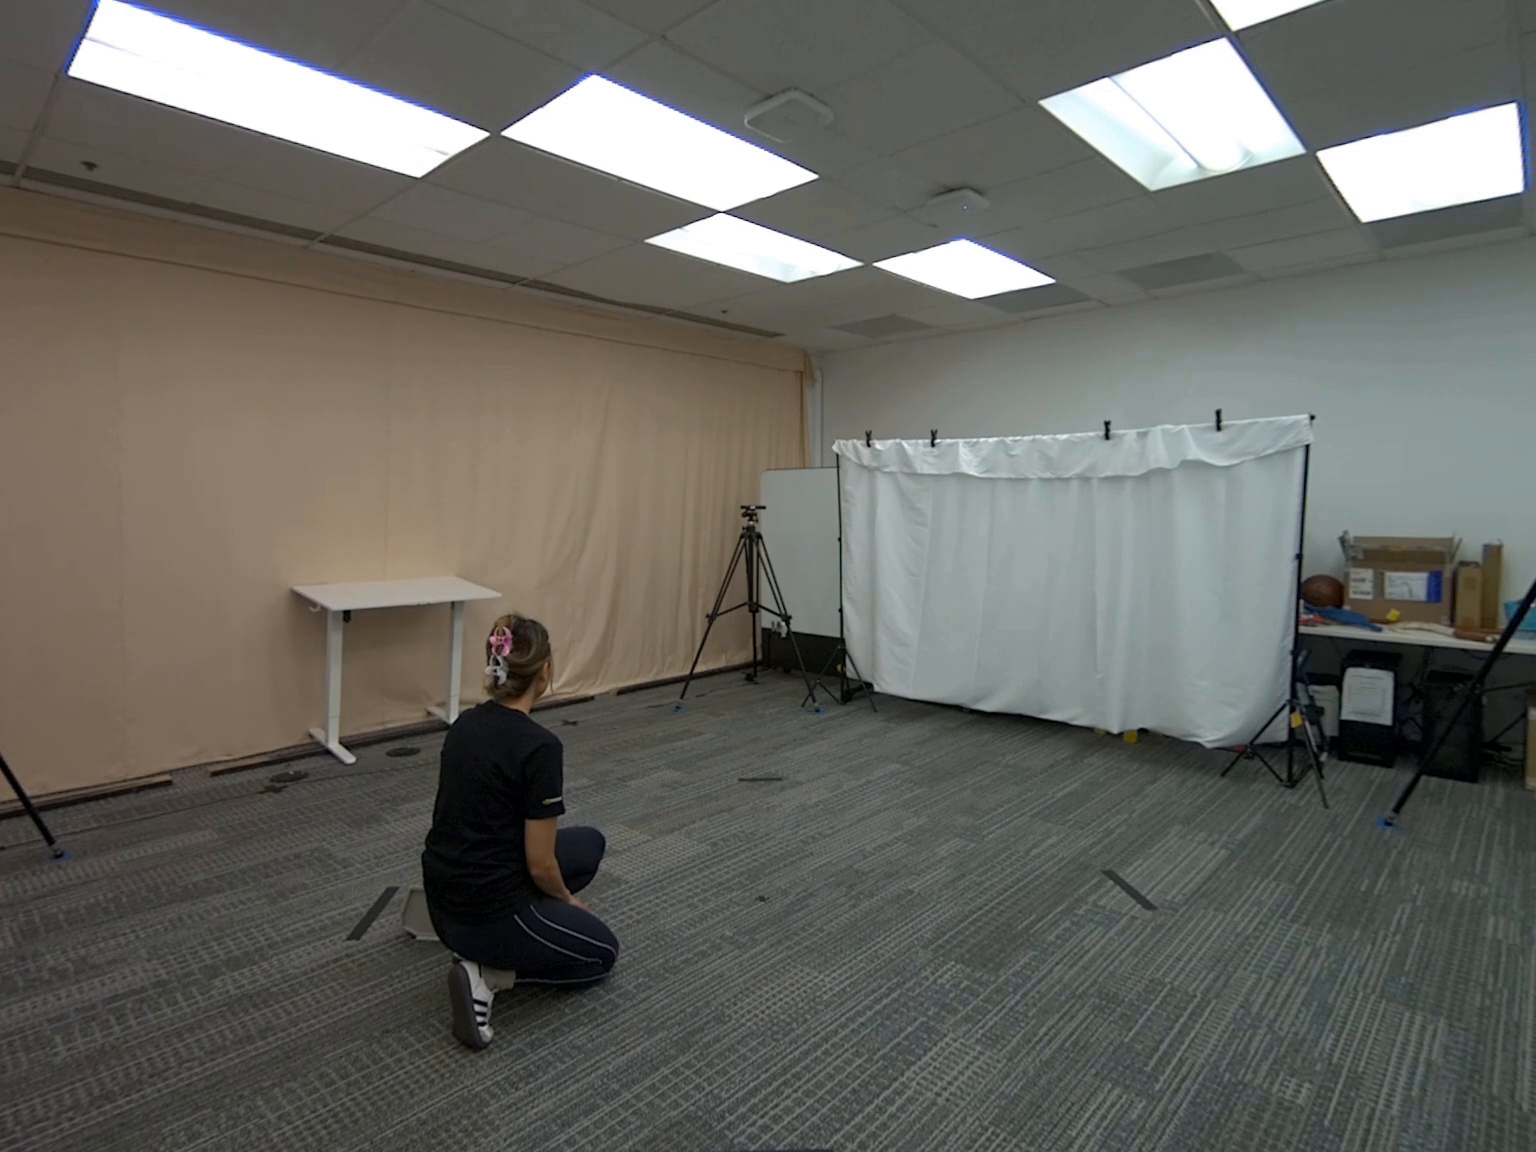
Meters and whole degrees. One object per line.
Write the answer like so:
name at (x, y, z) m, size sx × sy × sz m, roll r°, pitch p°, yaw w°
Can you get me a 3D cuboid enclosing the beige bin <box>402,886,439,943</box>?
beige bin at (-1.003, 1.073, 2.900) m, size 0.379 × 0.188 × 0.421 m, roll 1°, pitch 4°, yaw 3°
